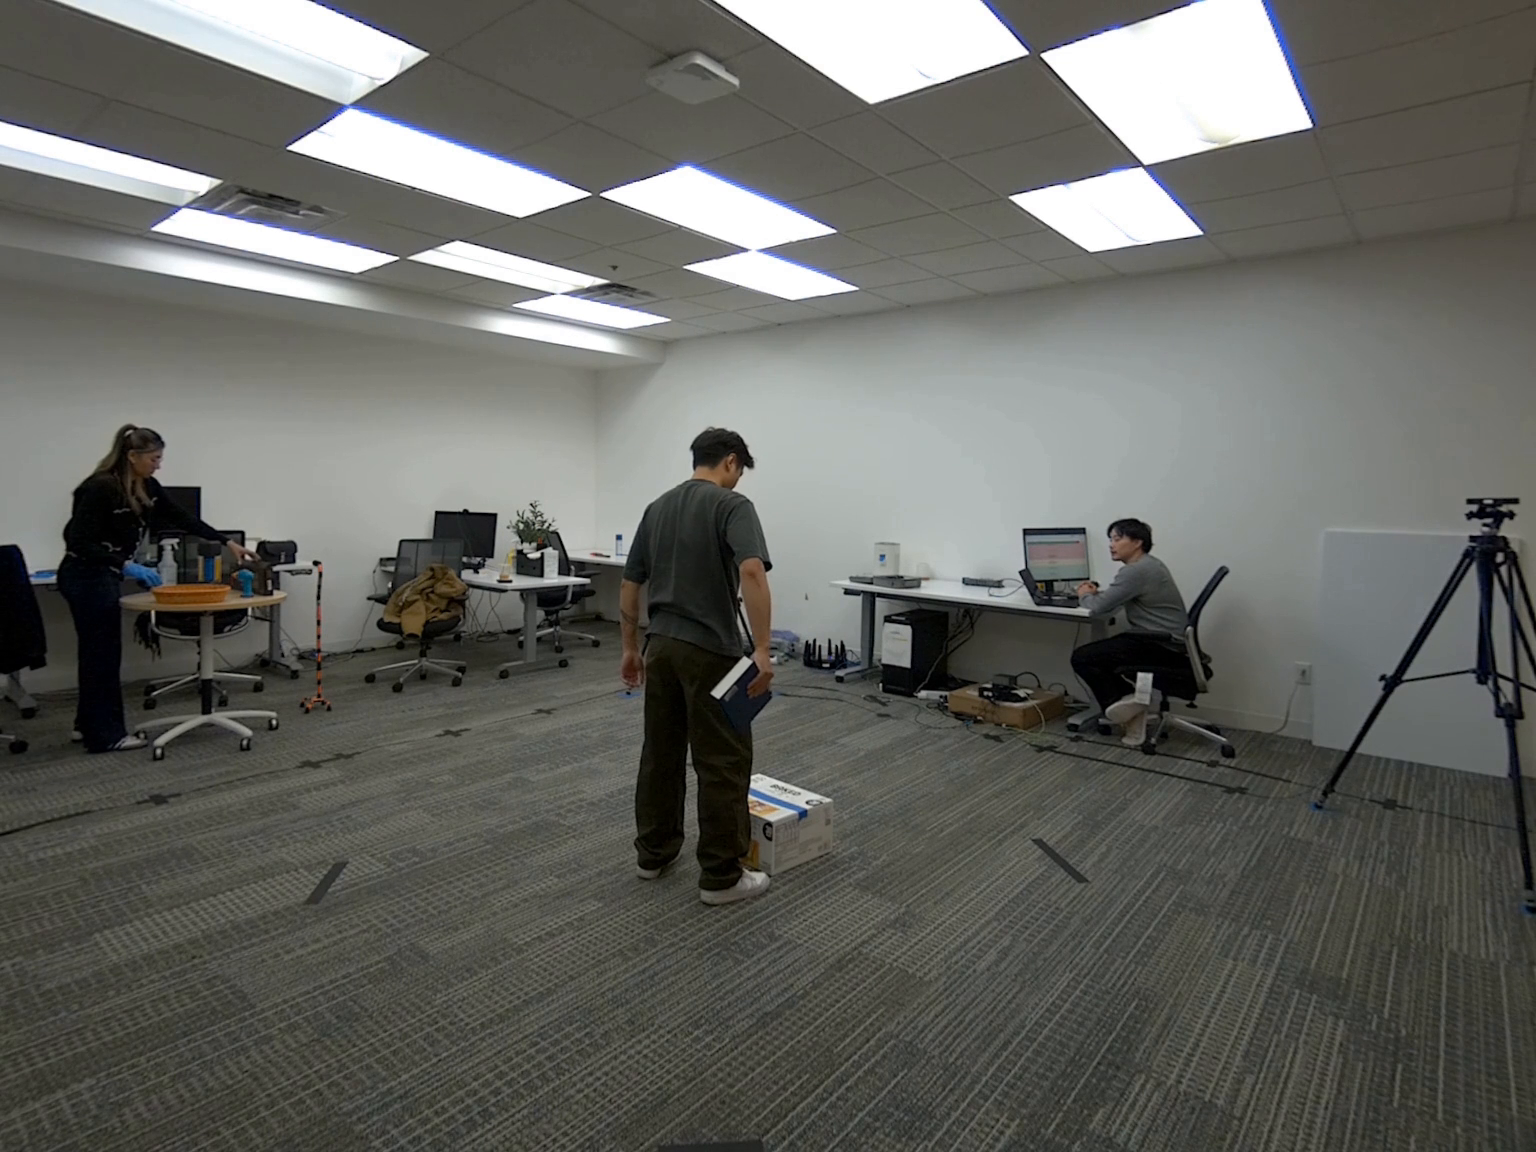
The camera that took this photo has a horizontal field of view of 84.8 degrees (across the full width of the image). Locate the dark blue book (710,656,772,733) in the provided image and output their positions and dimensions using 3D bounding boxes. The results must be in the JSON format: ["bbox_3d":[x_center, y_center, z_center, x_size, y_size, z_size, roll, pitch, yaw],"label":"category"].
[{"bbox_3d":[-0.092,0.364,2.635,0.047,0.163,0.235,32,-21,34],"label":"dark blue book"}]
